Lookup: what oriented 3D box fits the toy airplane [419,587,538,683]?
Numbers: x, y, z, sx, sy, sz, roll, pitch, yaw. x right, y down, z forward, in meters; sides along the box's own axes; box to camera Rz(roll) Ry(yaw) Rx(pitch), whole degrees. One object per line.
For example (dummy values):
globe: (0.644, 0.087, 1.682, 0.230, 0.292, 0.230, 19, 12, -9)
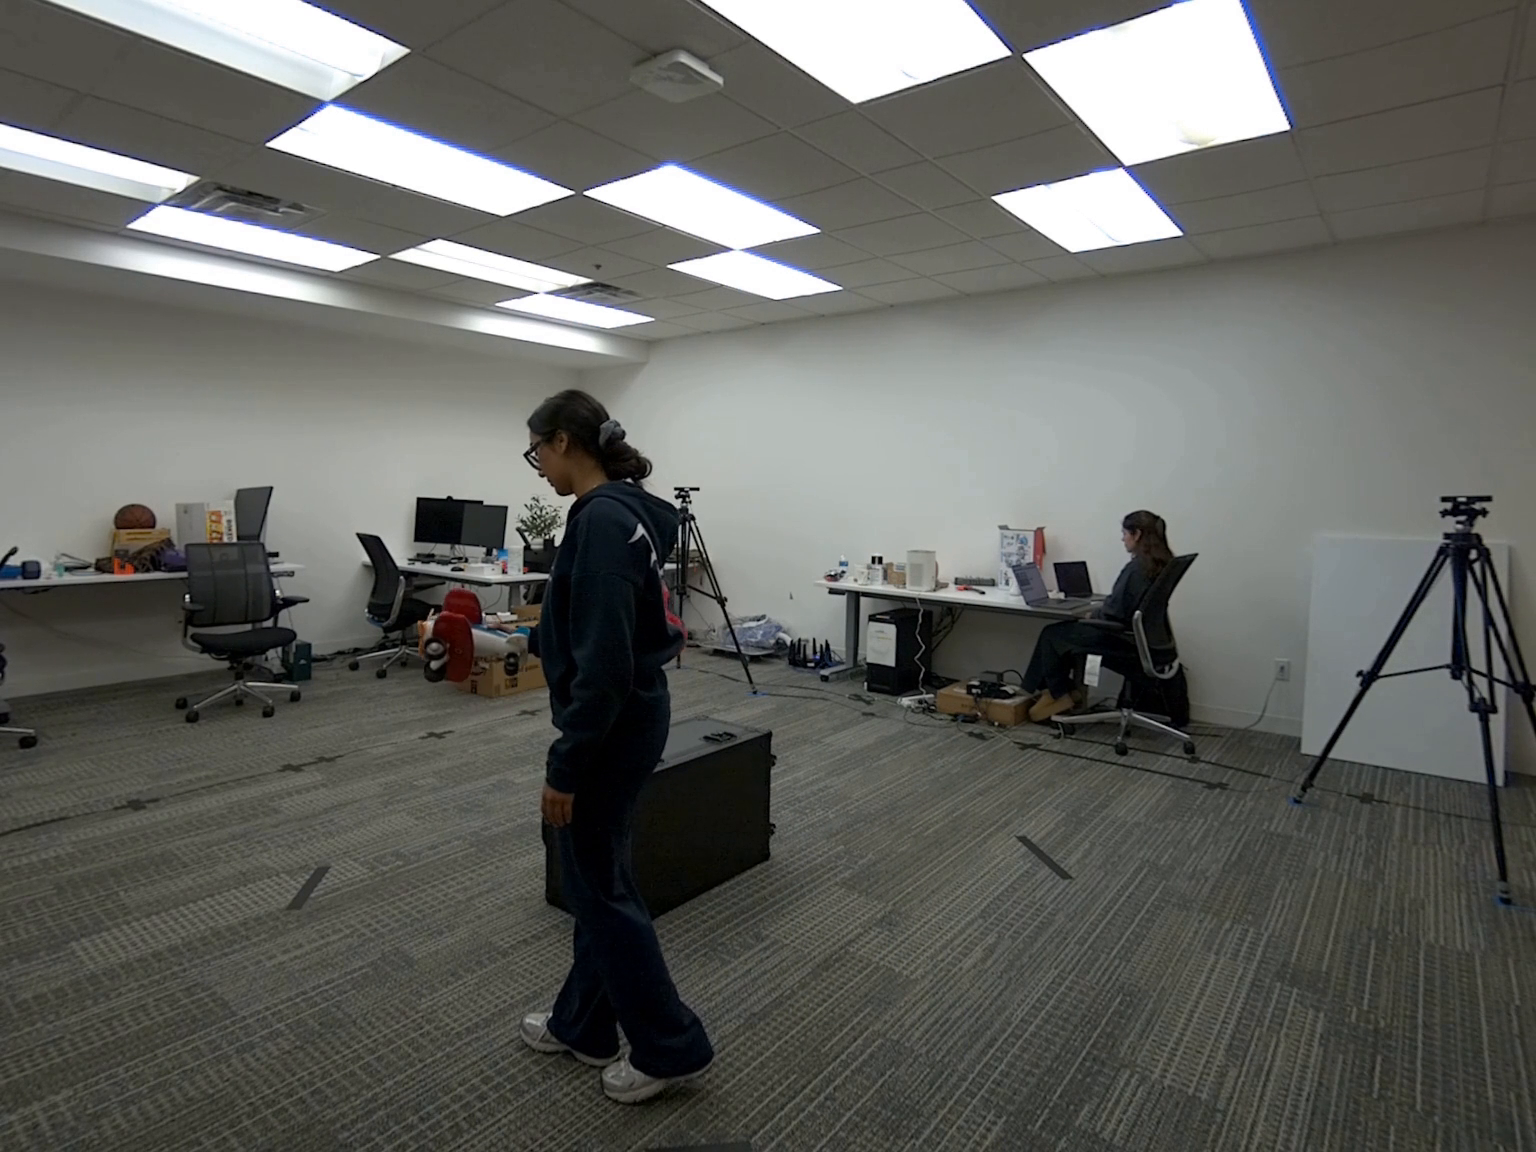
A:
toy airplane: (-0.714, 0.180, 2.064, 0.250, 0.162, 0.251, 23, -53, -33)
